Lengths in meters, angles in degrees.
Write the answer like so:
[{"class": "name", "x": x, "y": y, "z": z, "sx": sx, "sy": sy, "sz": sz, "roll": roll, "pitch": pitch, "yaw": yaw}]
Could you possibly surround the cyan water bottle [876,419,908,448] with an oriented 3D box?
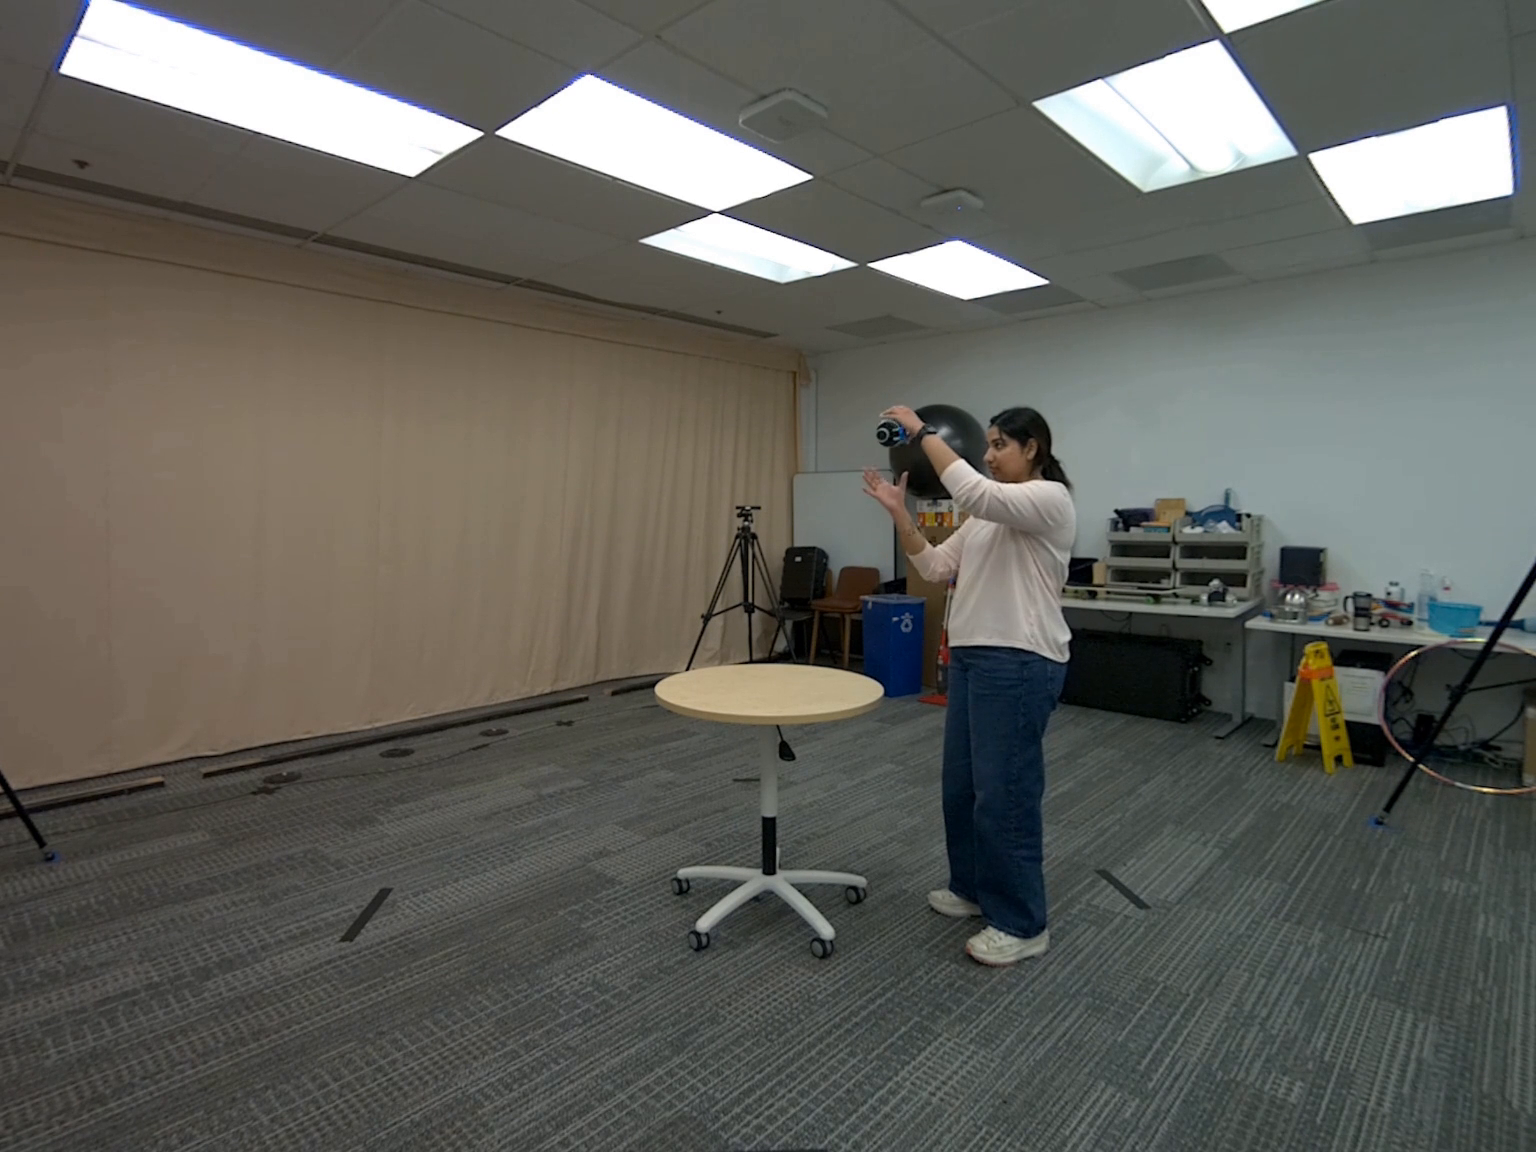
[{"class": "cyan water bottle", "x": 0.409, "y": -0.439, "z": 2.679, "sx": 0.094, "sy": 0.091, "sz": 0.280, "roll": 1, "pitch": 16, "yaw": 18}]
